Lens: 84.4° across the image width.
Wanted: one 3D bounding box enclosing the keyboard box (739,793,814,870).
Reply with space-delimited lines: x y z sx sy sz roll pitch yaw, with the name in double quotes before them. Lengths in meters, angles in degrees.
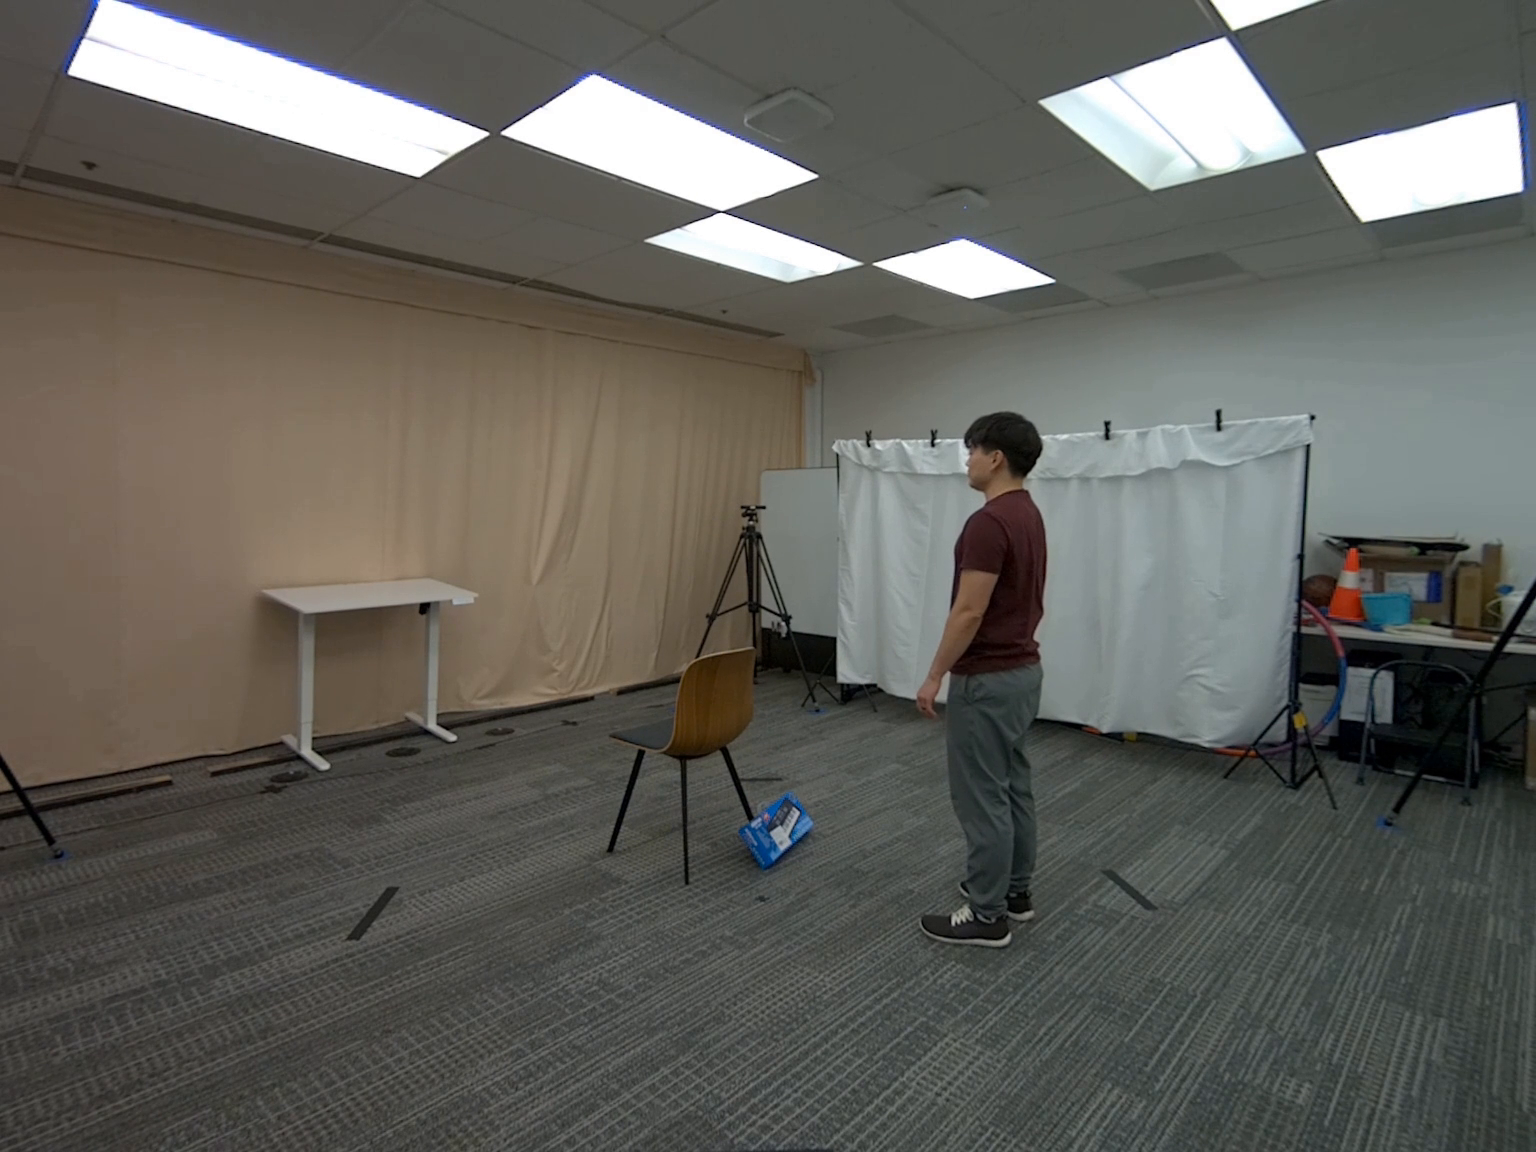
"keyboard box" 0.044 1.024 3.423 0.059 0.178 0.427 -41 -12 22
